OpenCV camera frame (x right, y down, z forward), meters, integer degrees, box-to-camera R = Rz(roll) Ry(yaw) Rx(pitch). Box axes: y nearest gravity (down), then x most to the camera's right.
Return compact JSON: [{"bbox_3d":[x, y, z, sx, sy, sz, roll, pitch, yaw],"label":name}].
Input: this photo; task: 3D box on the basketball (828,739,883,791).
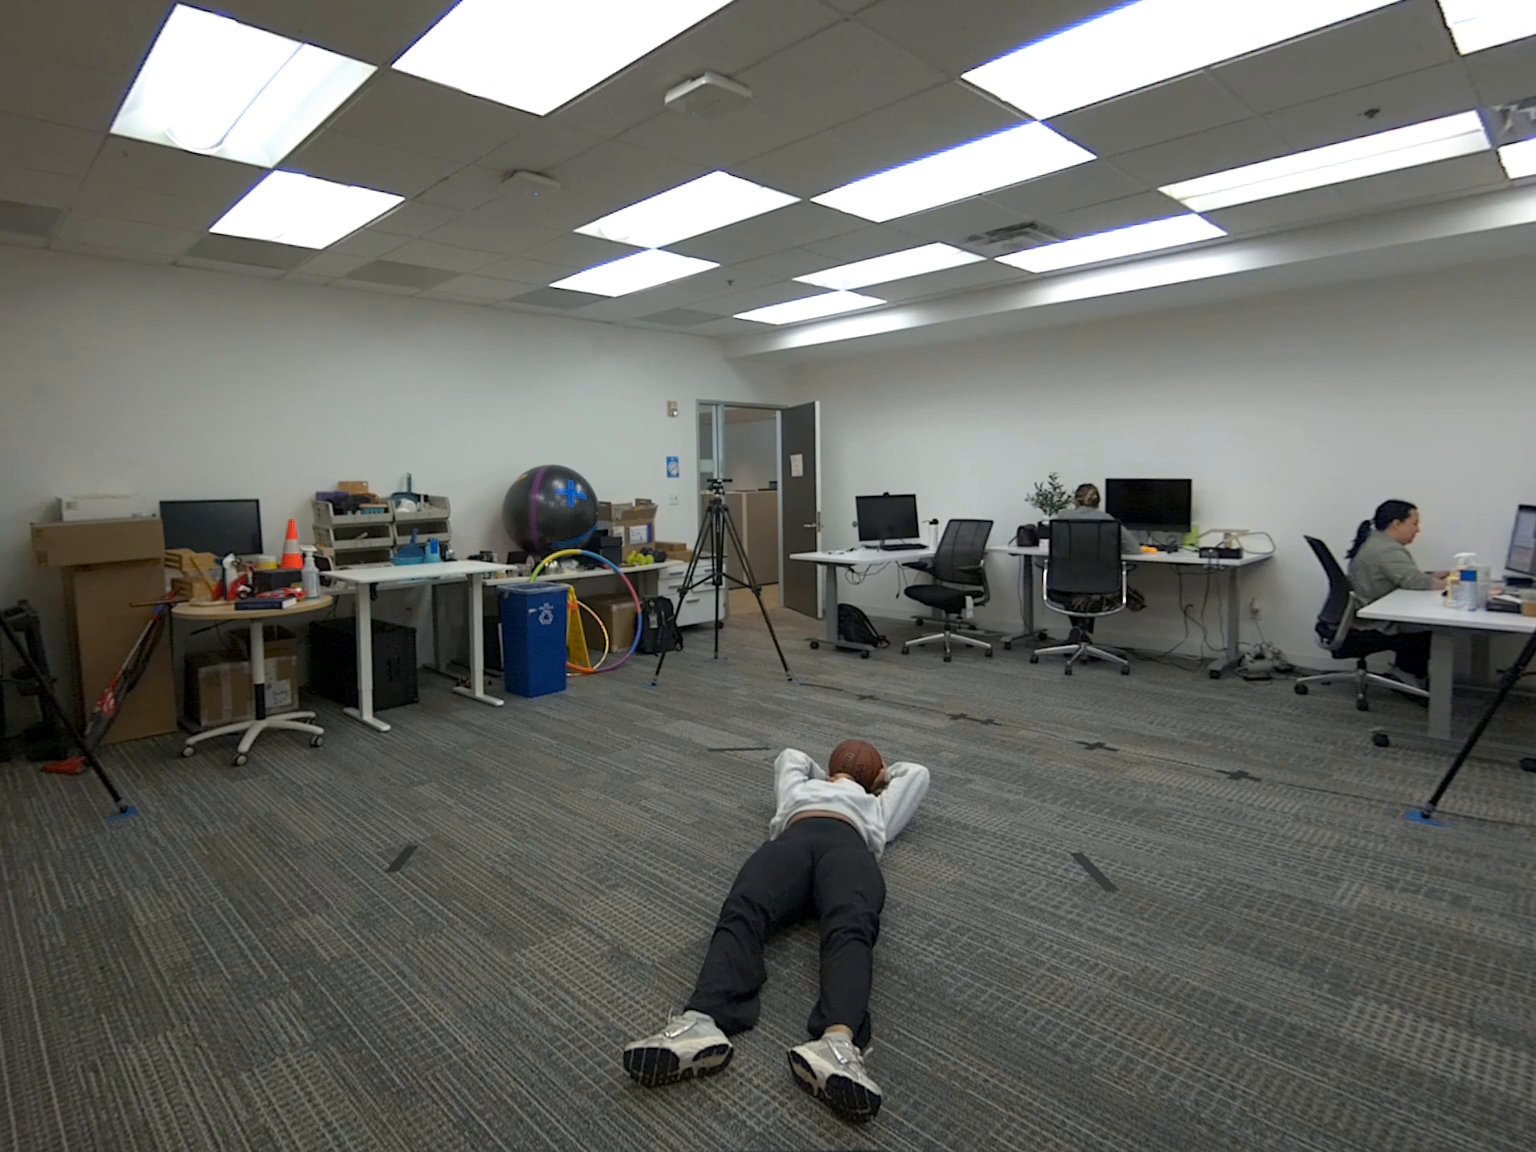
[{"bbox_3d":[0.386,0.839,3.769,0.236,0.235,0.236,-4,2,-2],"label":"basketball"}]
